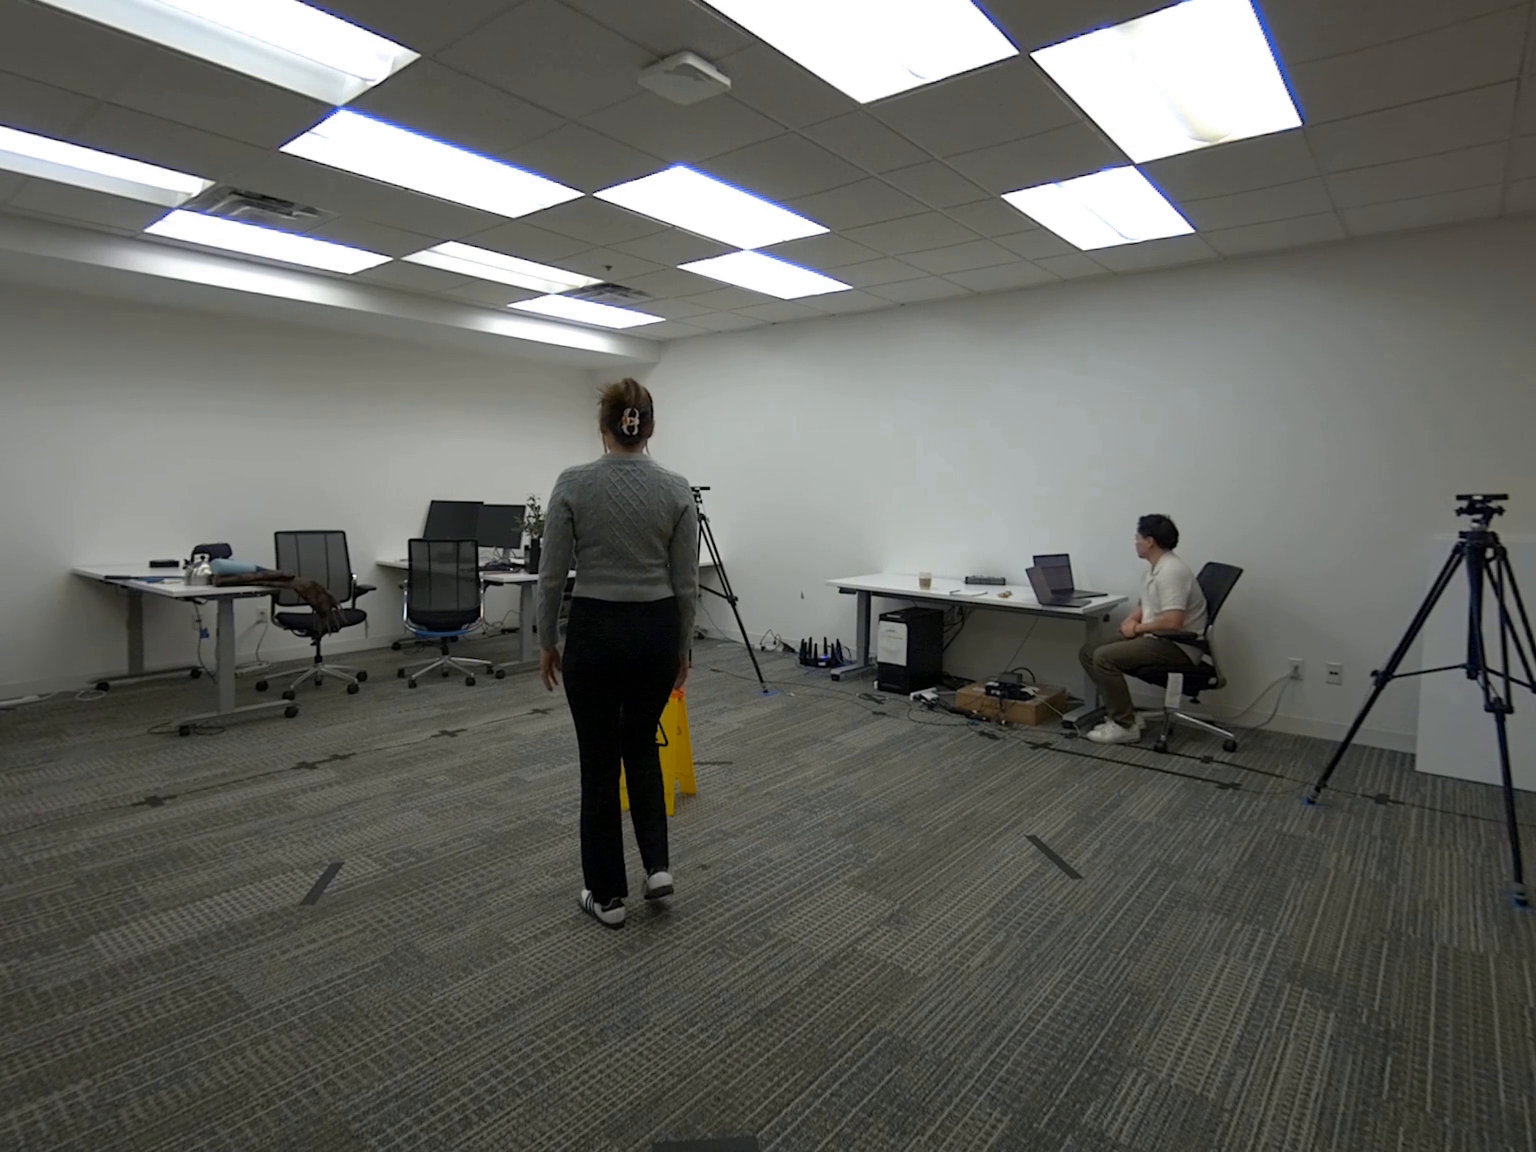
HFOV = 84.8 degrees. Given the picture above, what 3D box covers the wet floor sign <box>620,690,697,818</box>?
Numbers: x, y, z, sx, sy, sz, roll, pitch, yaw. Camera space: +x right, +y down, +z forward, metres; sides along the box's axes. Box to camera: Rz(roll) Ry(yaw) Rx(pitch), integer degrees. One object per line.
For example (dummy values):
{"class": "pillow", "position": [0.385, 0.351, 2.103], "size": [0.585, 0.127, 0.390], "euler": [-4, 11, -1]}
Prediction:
{"class": "wet floor sign", "position": [-0.504, 0.675, 3.768], "size": [0.288, 0.645, 0.284], "euler": [2, 2, 18]}
